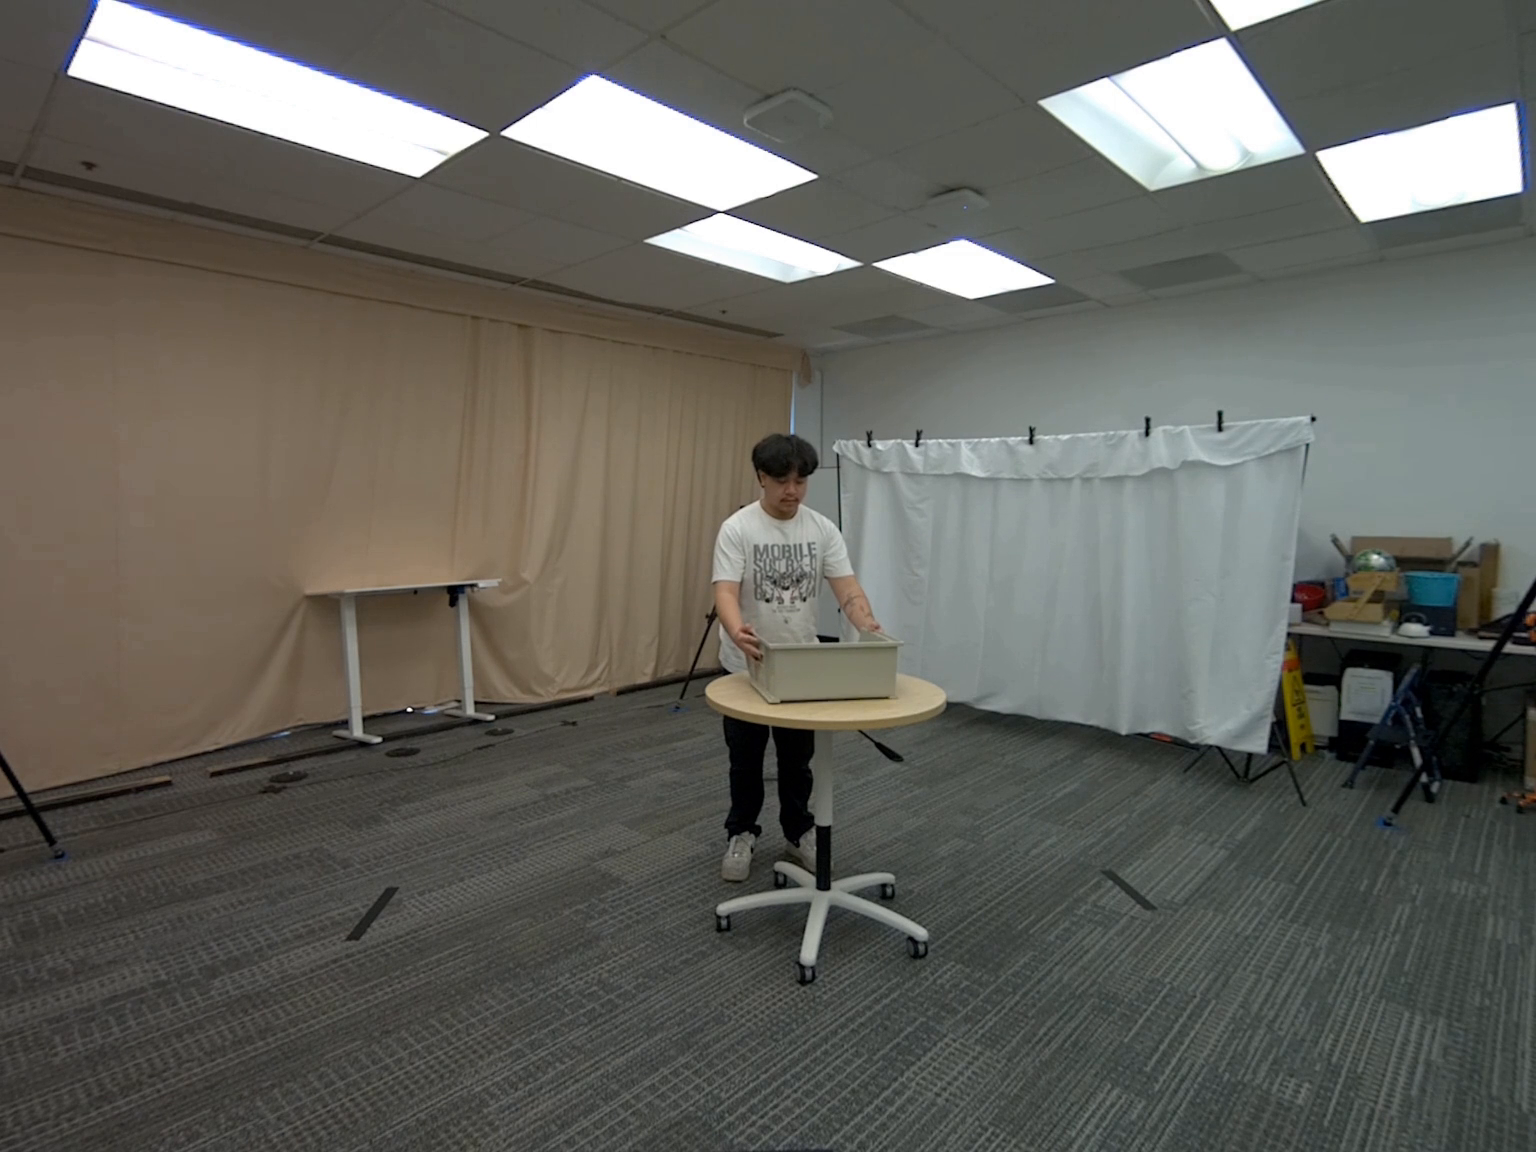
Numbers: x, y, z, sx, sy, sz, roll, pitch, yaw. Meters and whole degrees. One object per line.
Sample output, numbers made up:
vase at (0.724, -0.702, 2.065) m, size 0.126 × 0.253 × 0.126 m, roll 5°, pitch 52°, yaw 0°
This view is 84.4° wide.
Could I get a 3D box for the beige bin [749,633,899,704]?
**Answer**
beige bin at (0.166, 0.275, 2.728) m, size 0.417 × 0.188 × 0.383 m, roll 0°, pitch 7°, yaw -11°
